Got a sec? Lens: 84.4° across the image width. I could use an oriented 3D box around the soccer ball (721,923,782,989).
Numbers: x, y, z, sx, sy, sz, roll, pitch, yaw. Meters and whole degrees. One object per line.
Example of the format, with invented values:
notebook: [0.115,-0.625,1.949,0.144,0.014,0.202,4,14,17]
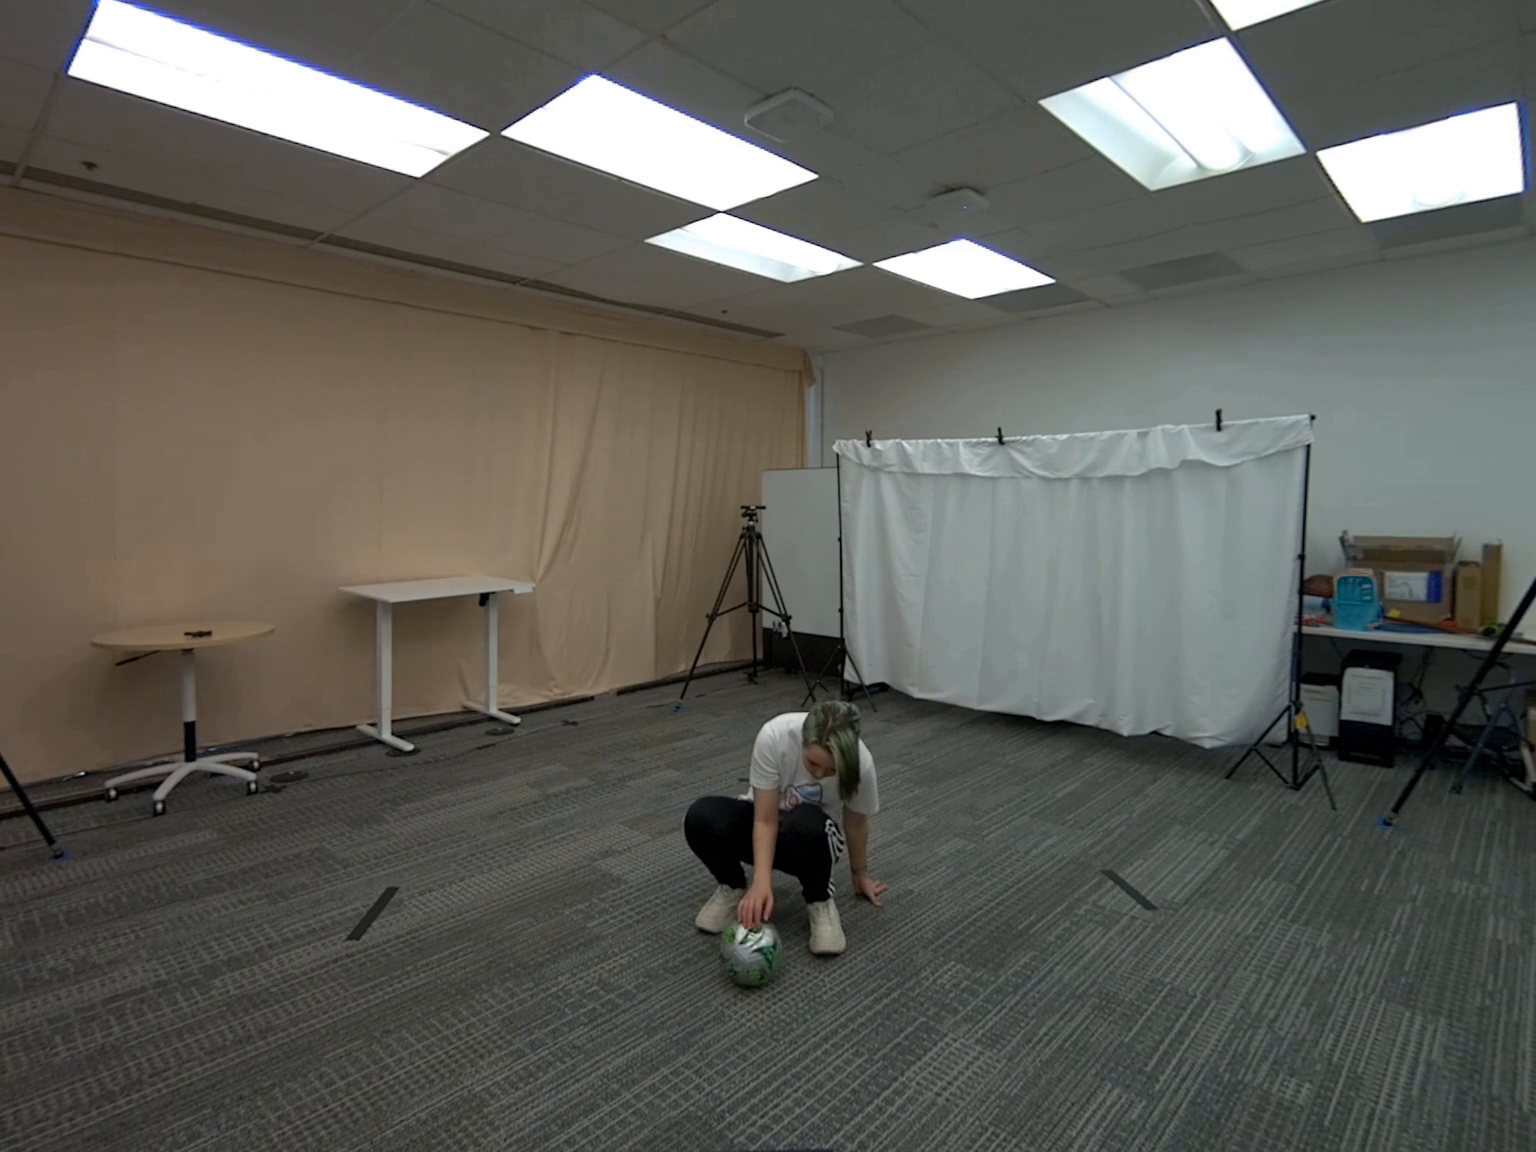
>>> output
soccer ball: [-0.047,1.090,2.469,0.187,0.187,0.188,0,4,-2]
